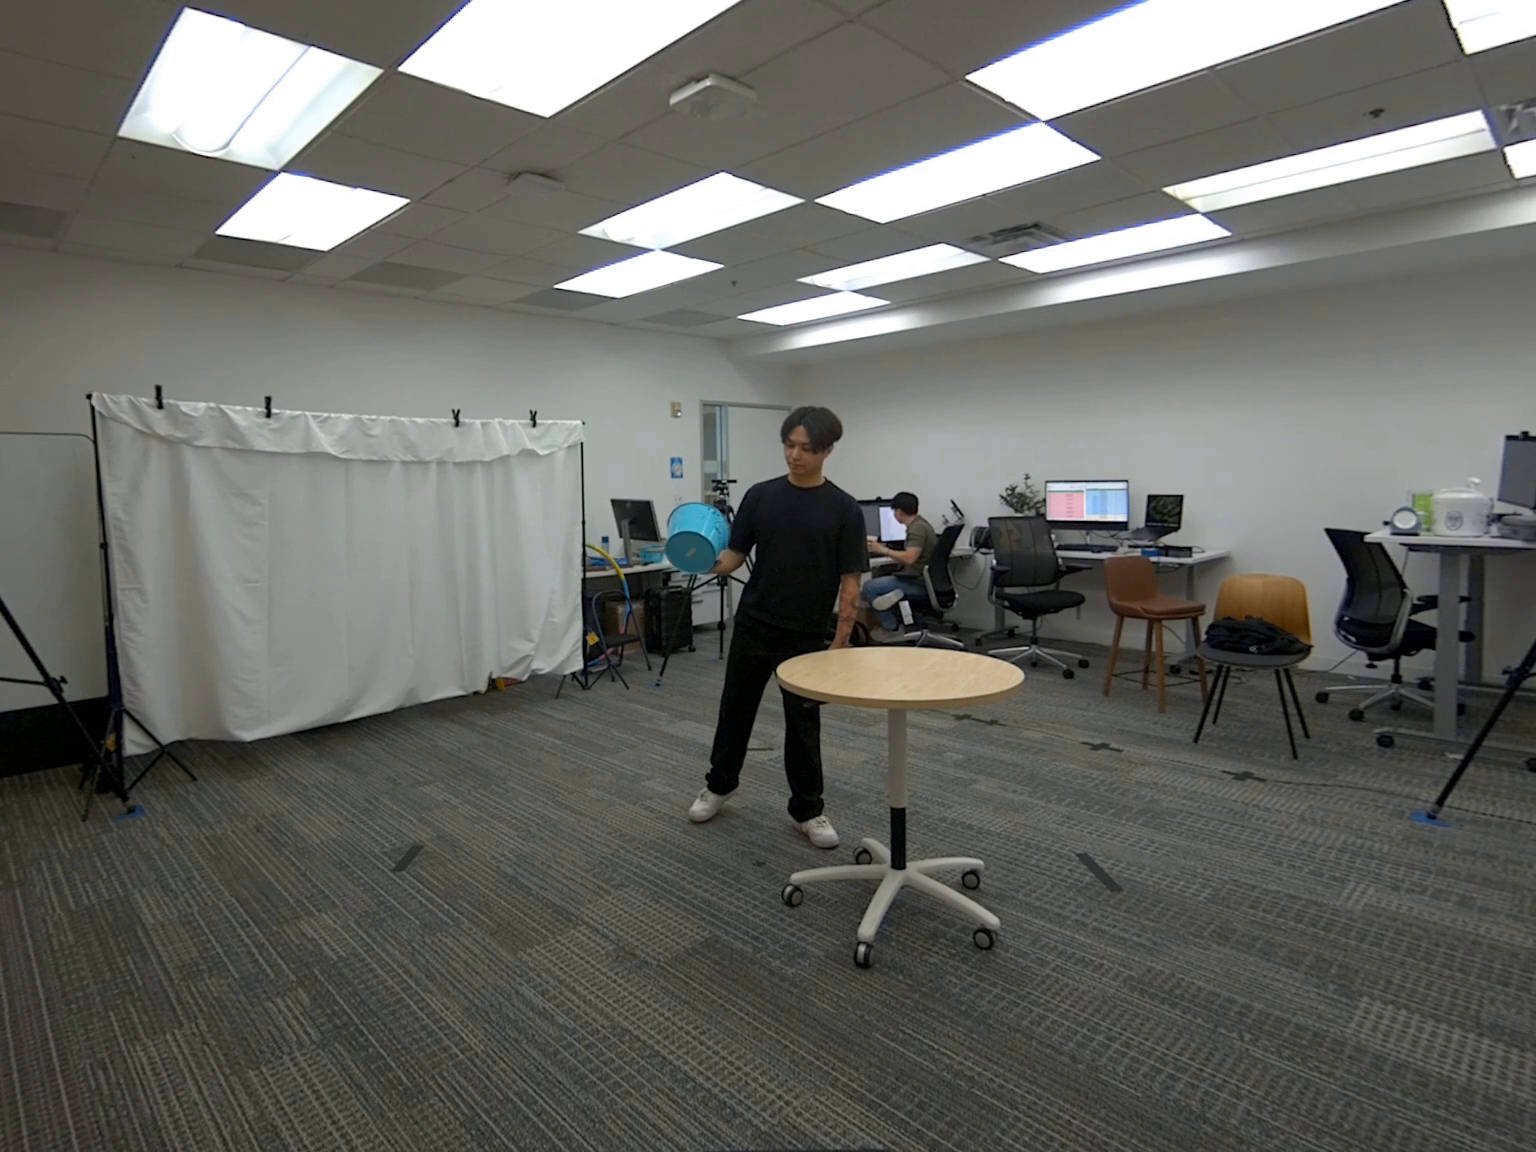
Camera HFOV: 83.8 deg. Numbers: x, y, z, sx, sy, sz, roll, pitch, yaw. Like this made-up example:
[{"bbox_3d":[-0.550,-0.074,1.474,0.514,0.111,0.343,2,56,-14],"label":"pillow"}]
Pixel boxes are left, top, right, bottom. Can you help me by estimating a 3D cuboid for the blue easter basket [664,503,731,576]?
[{"bbox_3d":[-0.252,-0.119,3.013,0.246,0.237,0.159,0,34,10],"label":"blue easter basket"}]
